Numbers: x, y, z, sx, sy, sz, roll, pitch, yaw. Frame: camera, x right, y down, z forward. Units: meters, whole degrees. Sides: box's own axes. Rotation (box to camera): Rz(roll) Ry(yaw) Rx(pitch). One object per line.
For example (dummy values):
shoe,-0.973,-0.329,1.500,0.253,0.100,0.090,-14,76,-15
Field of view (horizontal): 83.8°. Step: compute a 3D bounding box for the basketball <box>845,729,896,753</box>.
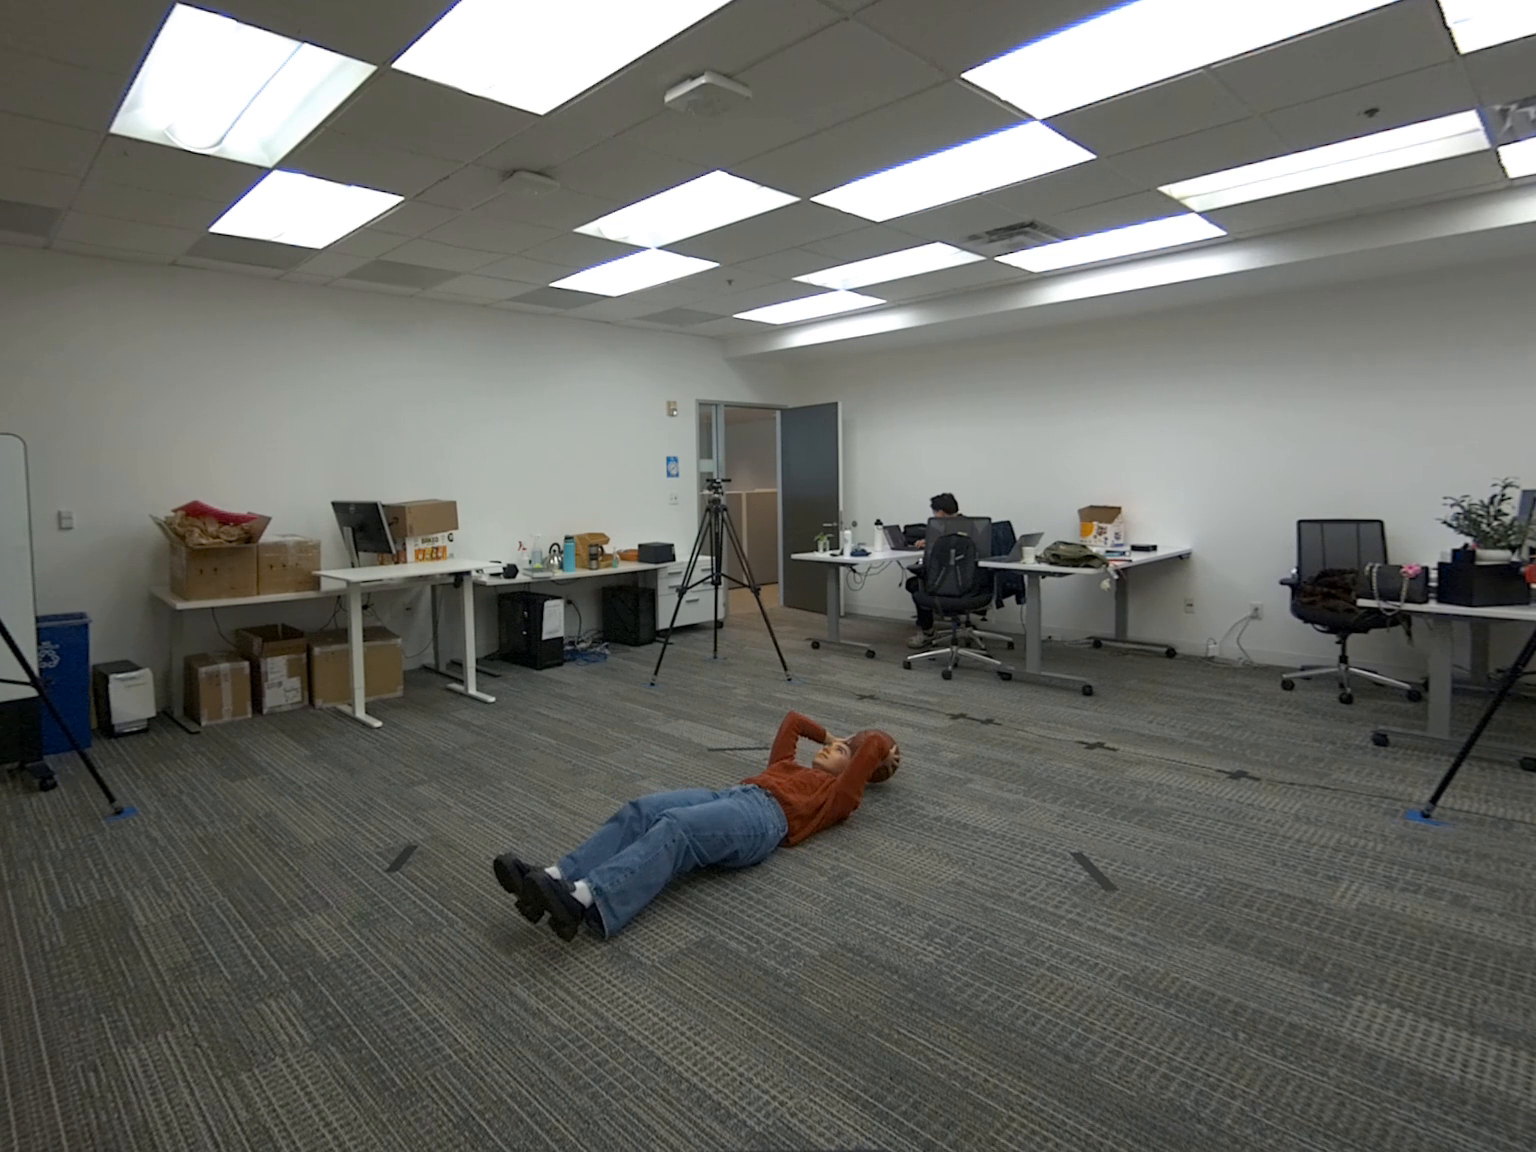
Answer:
basketball,0.474,0.806,3.850,0.236,0.236,0.236,0,1,-2
